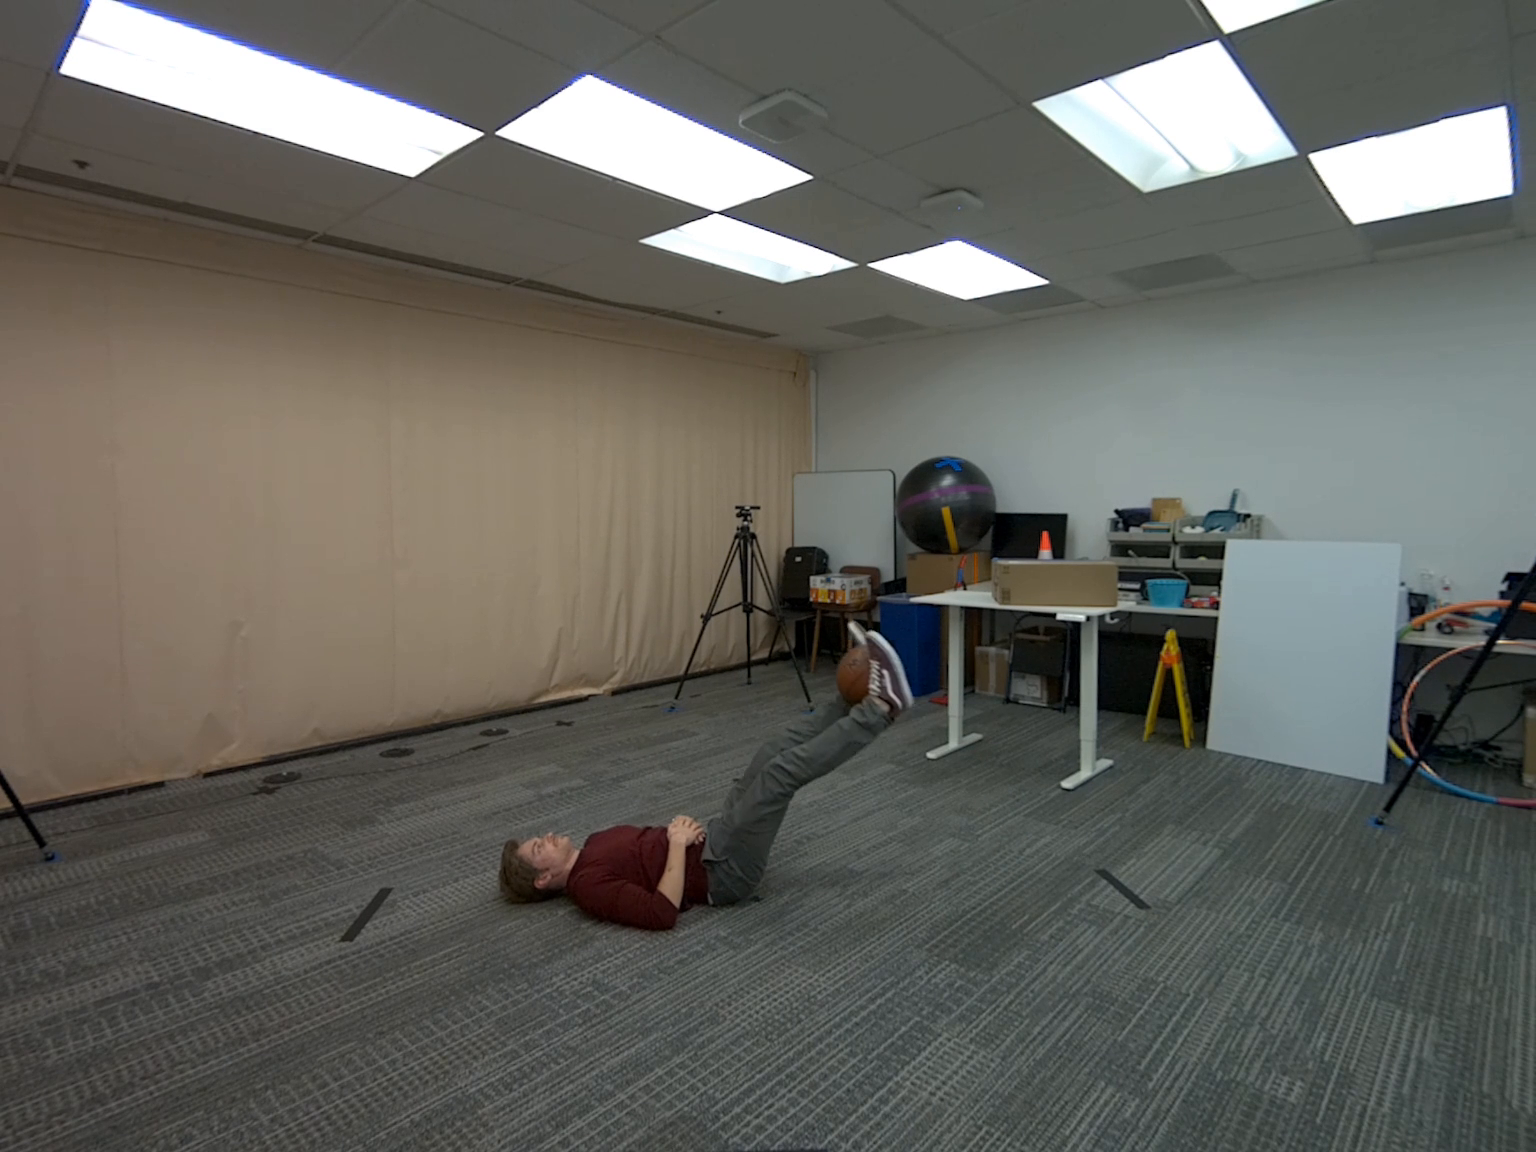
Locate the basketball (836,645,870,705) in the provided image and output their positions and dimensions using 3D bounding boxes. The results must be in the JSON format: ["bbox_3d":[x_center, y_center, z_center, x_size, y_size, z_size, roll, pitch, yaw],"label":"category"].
[{"bbox_3d":[0.358,0.371,2.982,0.235,0.235,0.237,3,5,-2],"label":"basketball"}]
